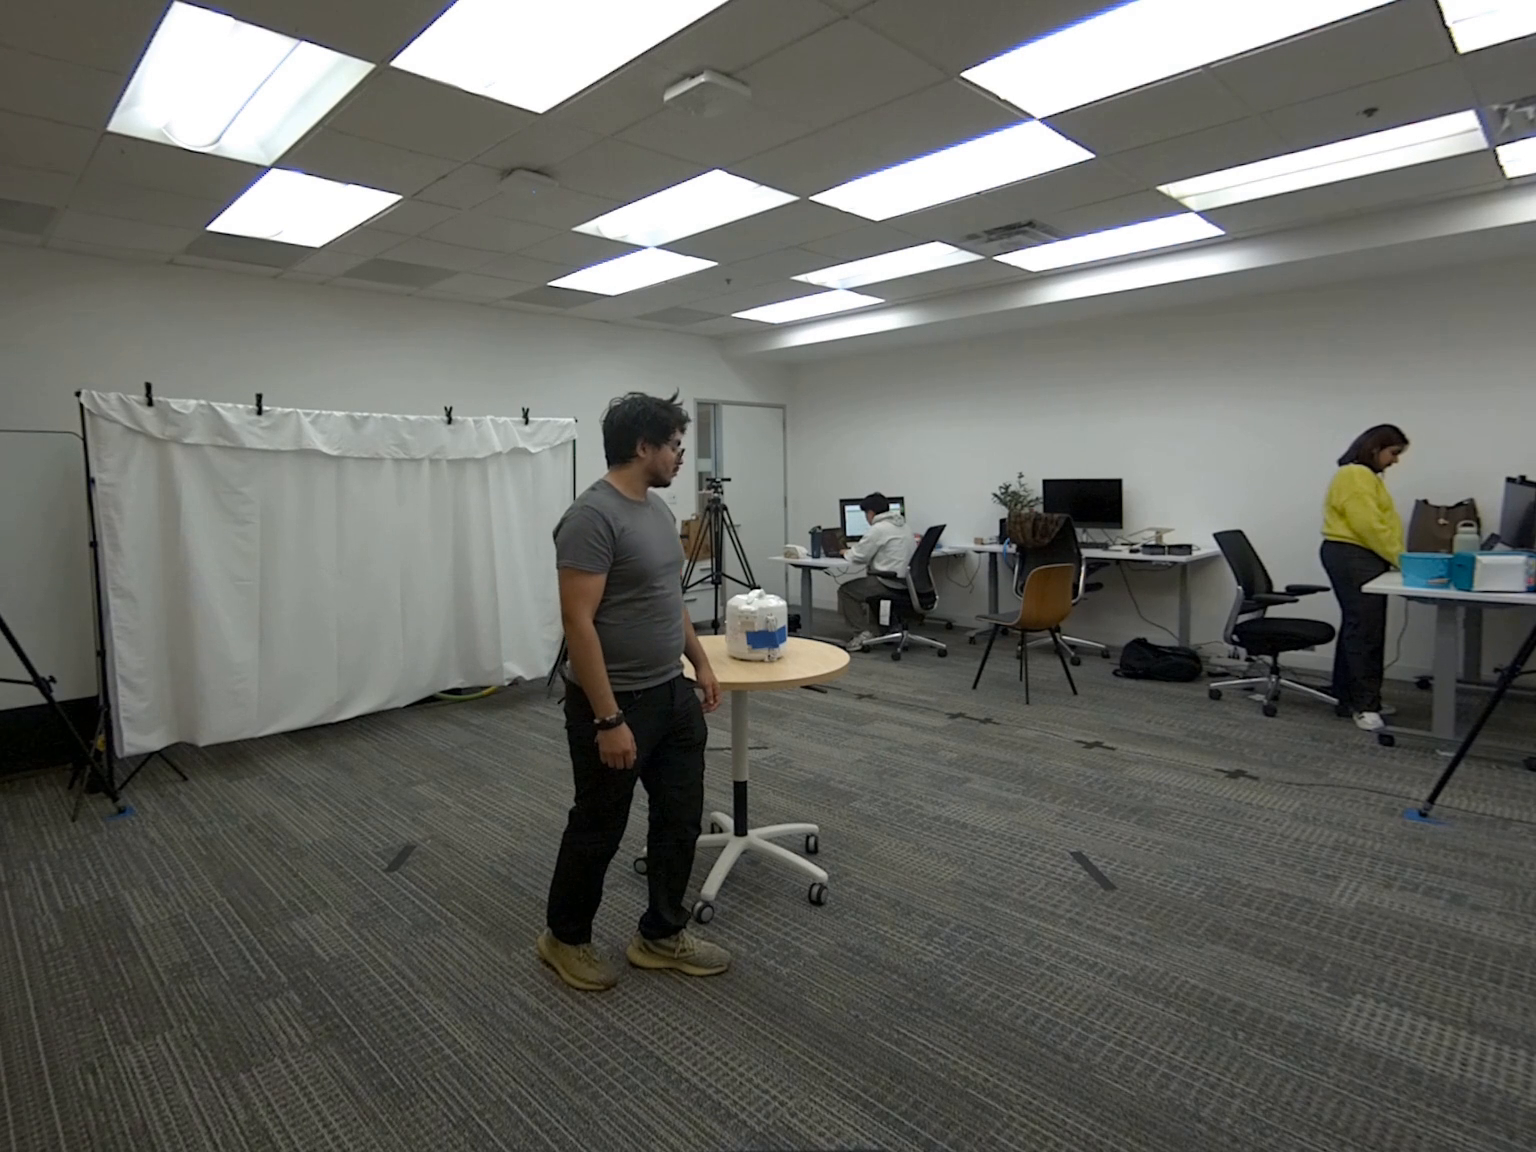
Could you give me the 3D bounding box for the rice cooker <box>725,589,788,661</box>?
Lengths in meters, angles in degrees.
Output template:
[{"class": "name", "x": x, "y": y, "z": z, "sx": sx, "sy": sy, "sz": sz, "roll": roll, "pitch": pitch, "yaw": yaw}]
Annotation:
[{"class": "rice cooker", "x": -0.040, "y": 0.162, "z": 2.950, "sx": 0.221, "sy": 0.232, "sz": 0.217, "roll": 1, "pitch": 5, "yaw": 18}]
